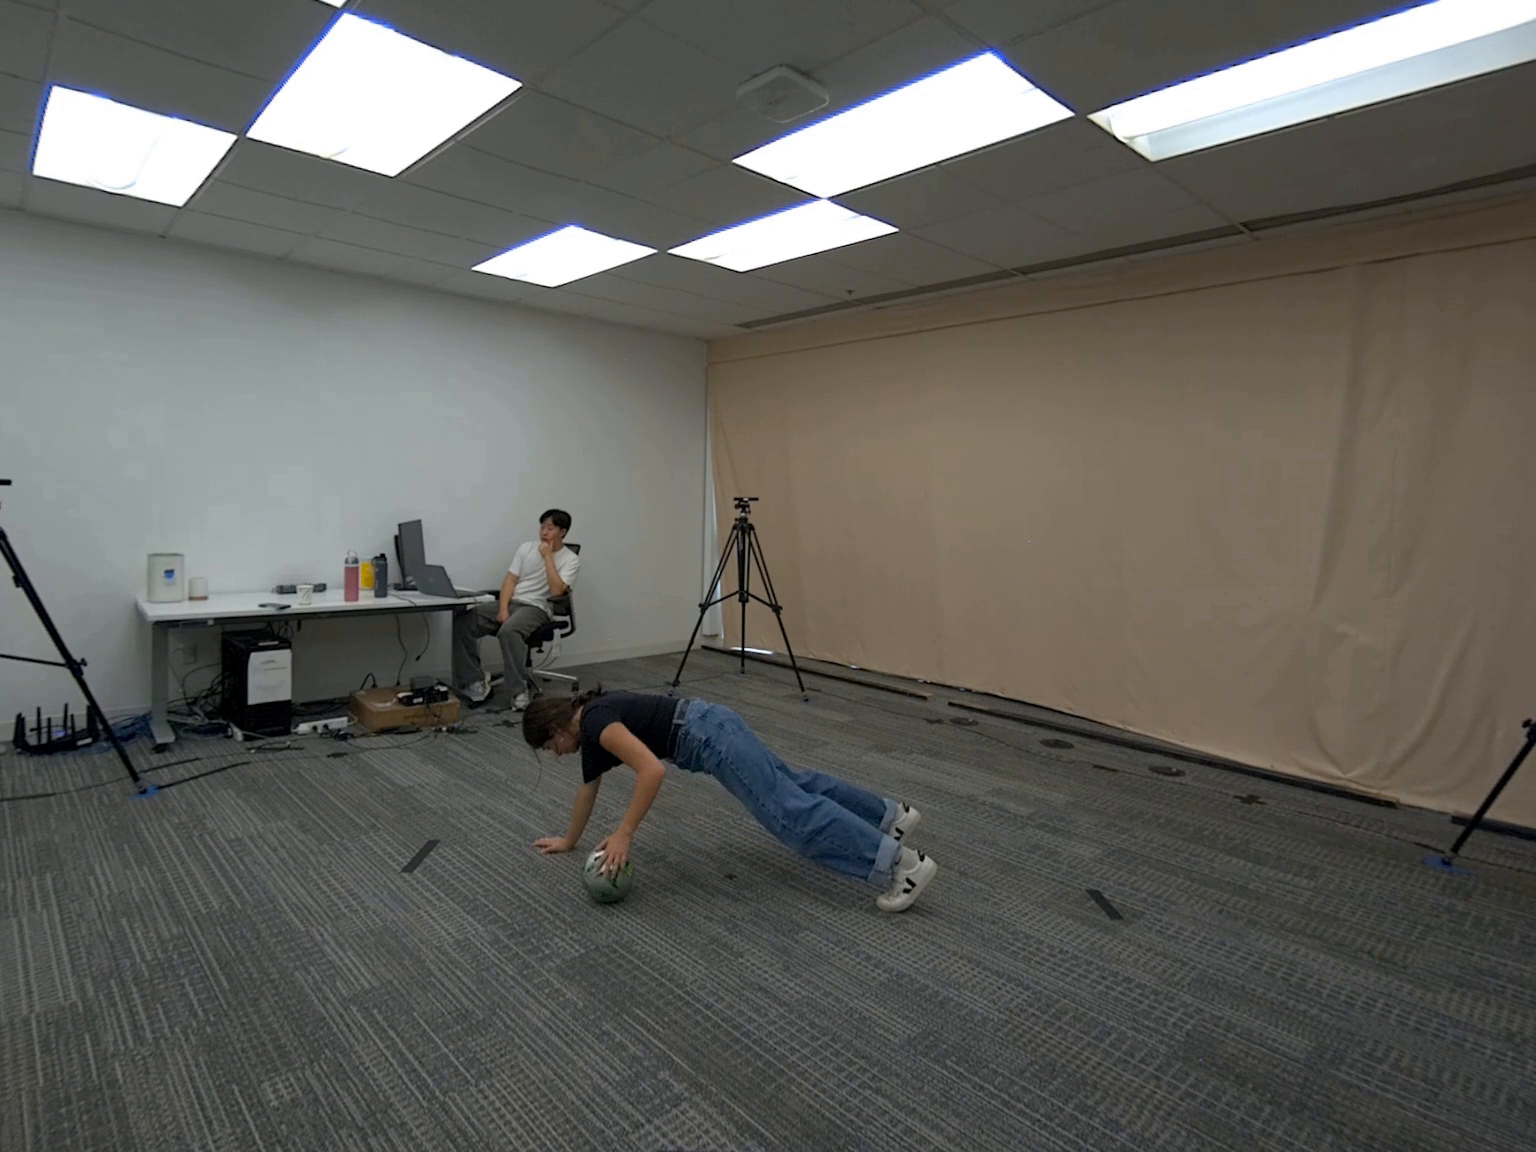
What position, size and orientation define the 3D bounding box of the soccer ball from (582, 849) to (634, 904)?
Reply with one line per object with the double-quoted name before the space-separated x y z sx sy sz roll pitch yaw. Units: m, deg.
"soccer ball" -0.558 1.023 2.910 0.187 0.187 0.188 1 4 -1
